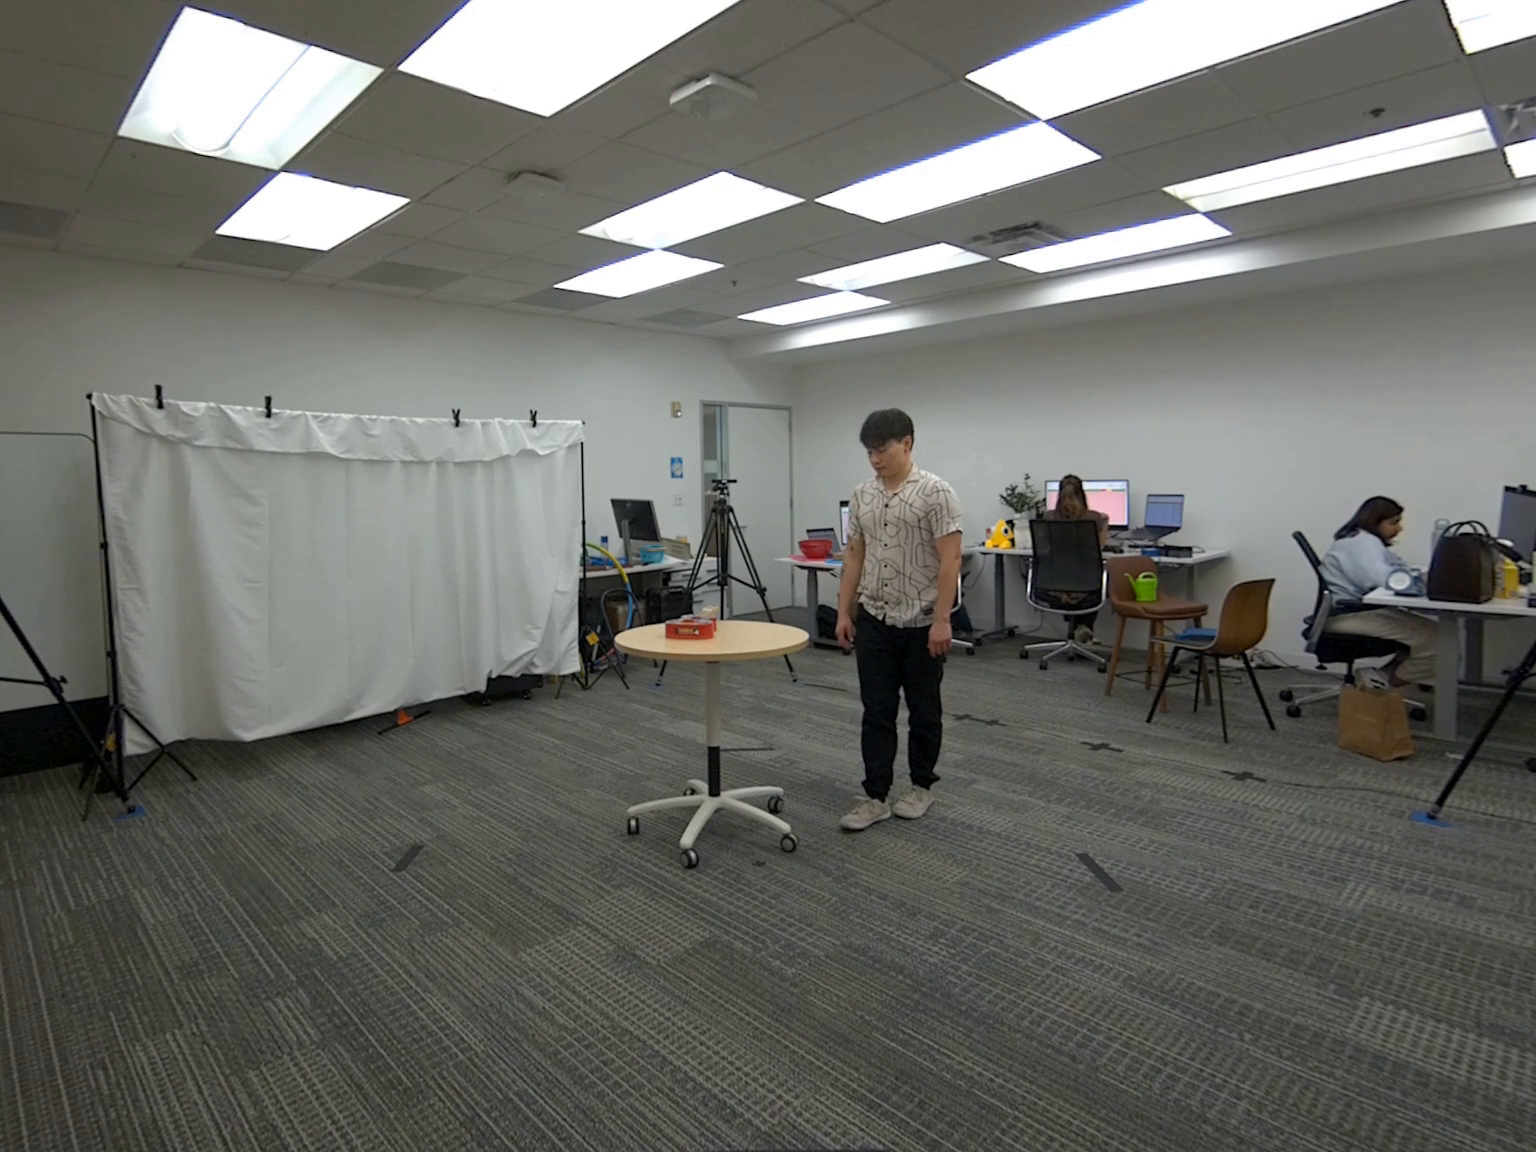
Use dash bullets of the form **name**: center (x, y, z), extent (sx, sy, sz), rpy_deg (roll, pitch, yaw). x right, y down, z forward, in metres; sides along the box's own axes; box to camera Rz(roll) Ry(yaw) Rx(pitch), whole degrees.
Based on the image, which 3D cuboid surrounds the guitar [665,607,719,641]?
- **guitar**: center (-0.251, 0.188, 3.532), extent (0.197, 0.070, 0.490), rpy_deg (0, 6, 19)
